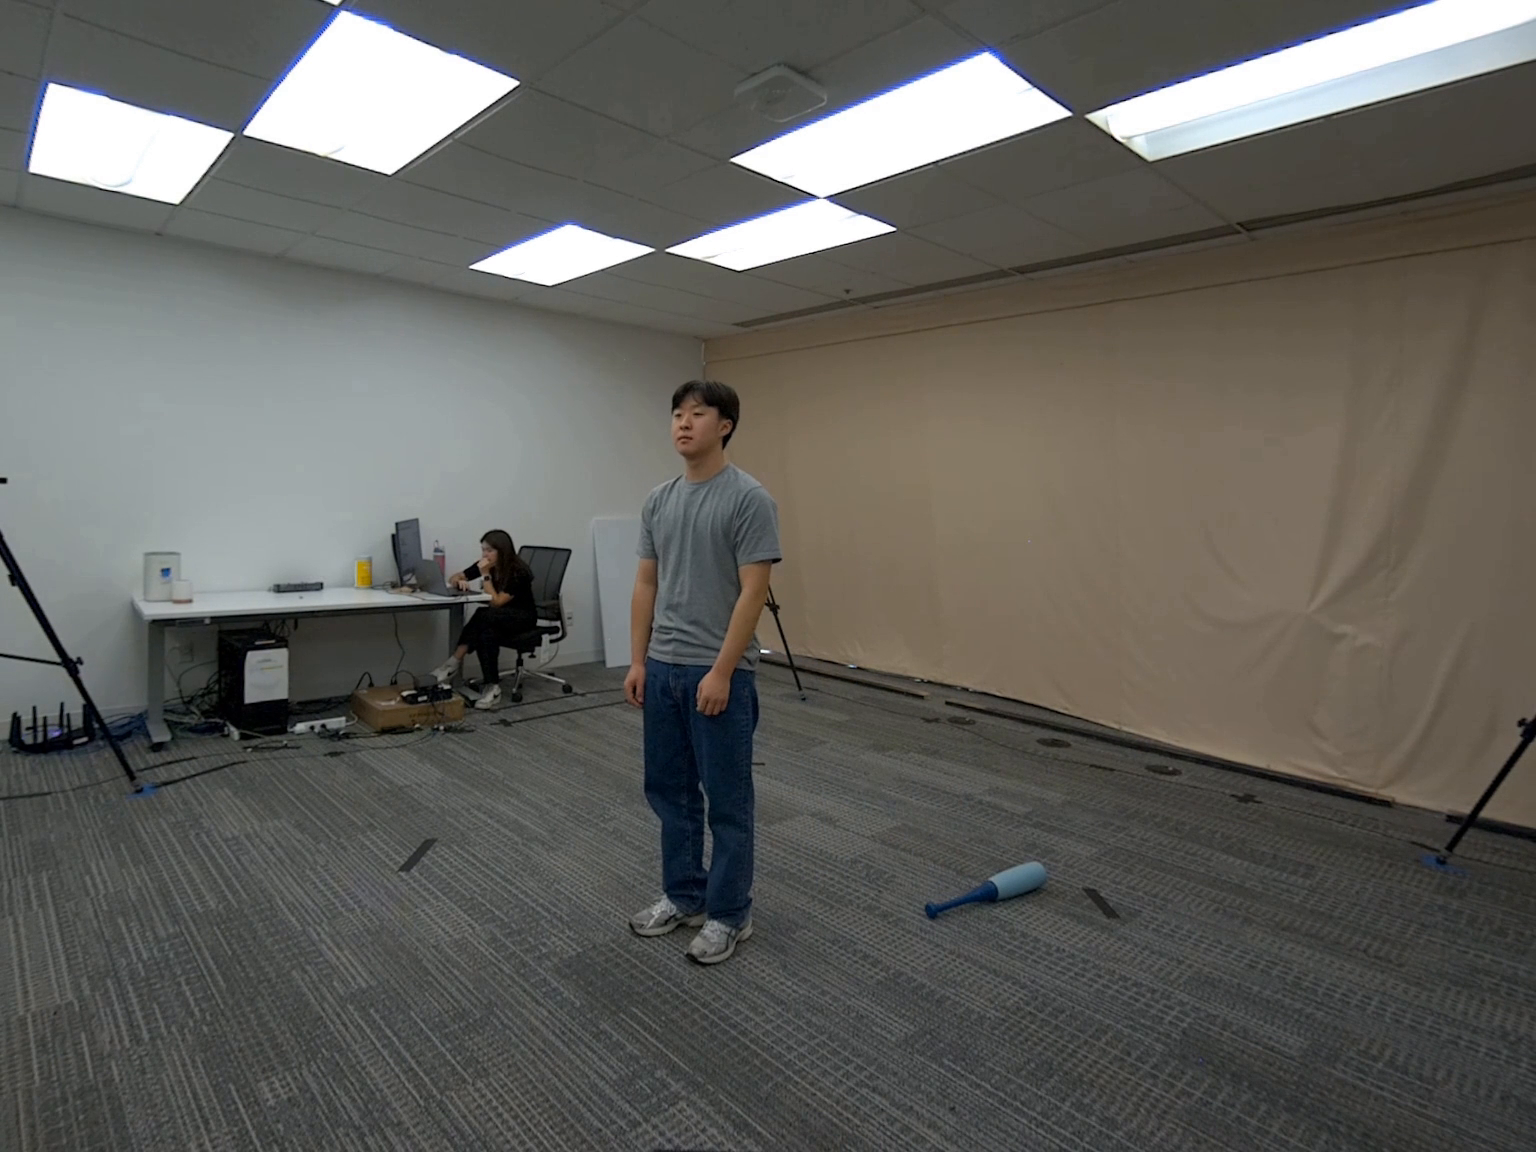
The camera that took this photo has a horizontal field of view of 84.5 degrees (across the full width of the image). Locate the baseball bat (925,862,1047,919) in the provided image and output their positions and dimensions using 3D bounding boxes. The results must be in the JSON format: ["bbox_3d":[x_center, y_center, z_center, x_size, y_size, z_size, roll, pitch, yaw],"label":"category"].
[{"bbox_3d":[0.763,1.111,2.946,0.533,0.089,0.091,-6,7,-30],"label":"baseball bat"}]
